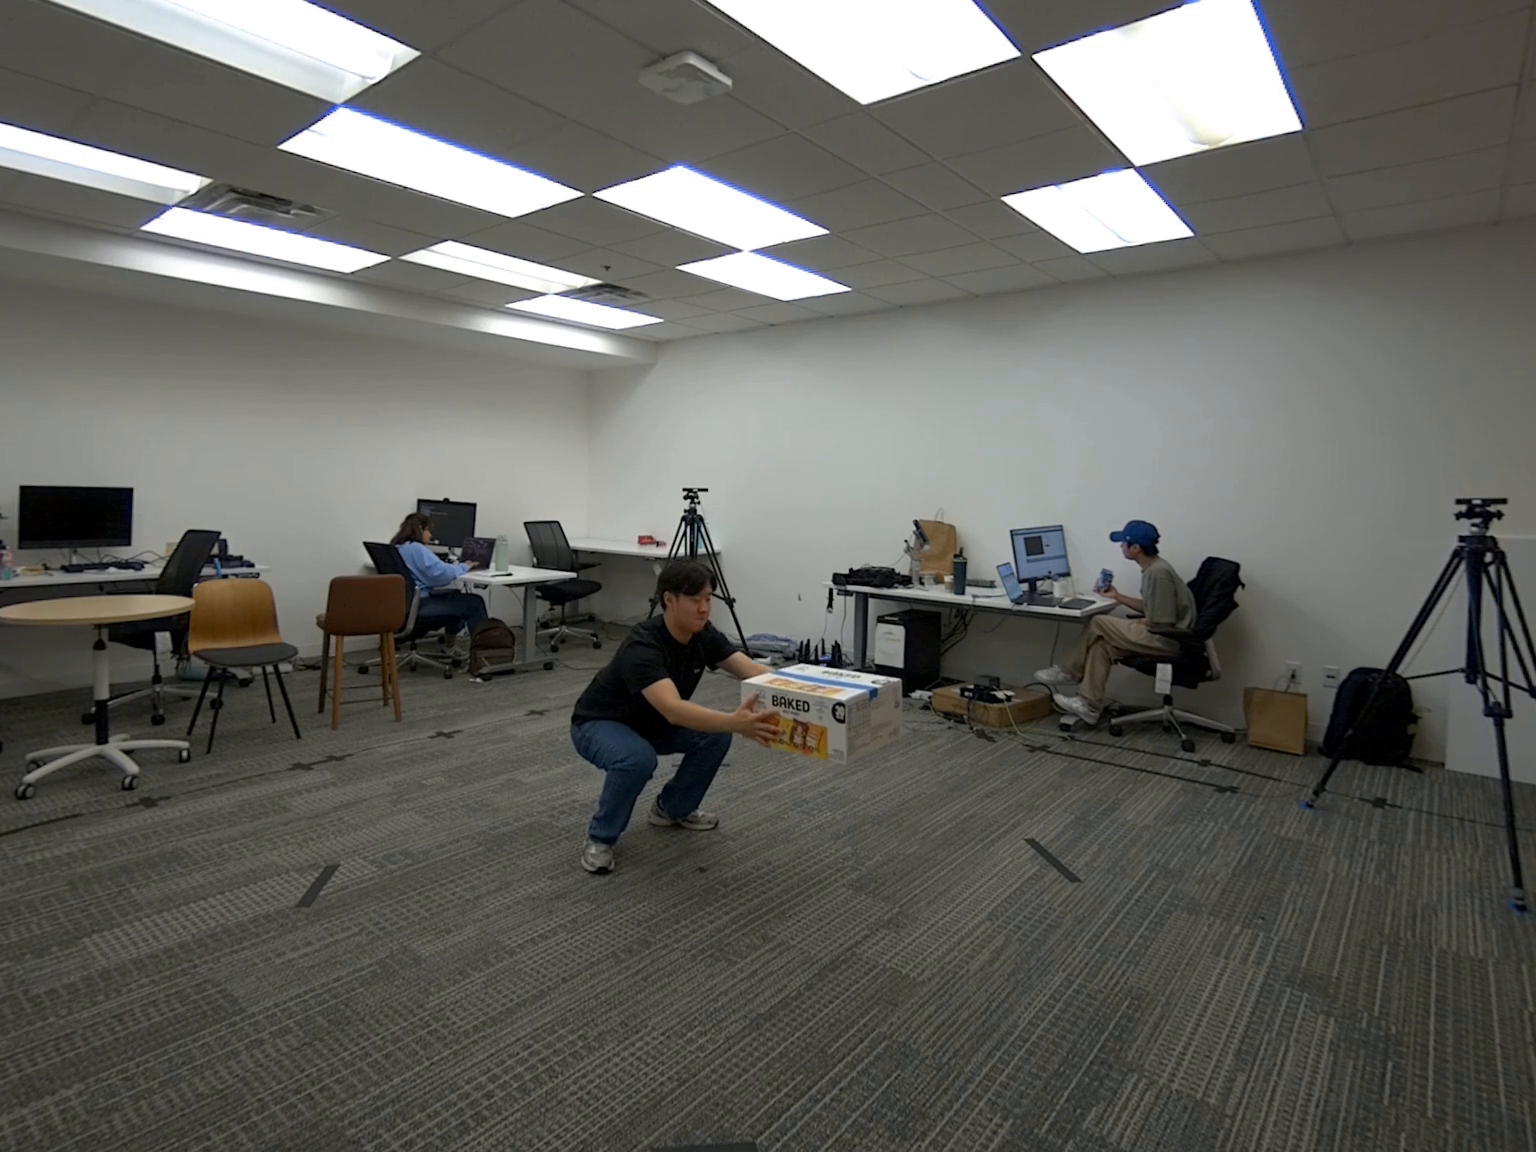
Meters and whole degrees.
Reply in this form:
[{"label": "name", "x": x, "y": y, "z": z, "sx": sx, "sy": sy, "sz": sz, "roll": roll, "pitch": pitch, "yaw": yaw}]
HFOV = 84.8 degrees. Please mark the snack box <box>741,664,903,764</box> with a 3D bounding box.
[{"label": "snack box", "x": 0.169, "y": 0.426, "z": 2.799, "sx": 0.418, "sy": 0.205, "sz": 0.331, "roll": 4, "pitch": 8, "yaw": 39}]
